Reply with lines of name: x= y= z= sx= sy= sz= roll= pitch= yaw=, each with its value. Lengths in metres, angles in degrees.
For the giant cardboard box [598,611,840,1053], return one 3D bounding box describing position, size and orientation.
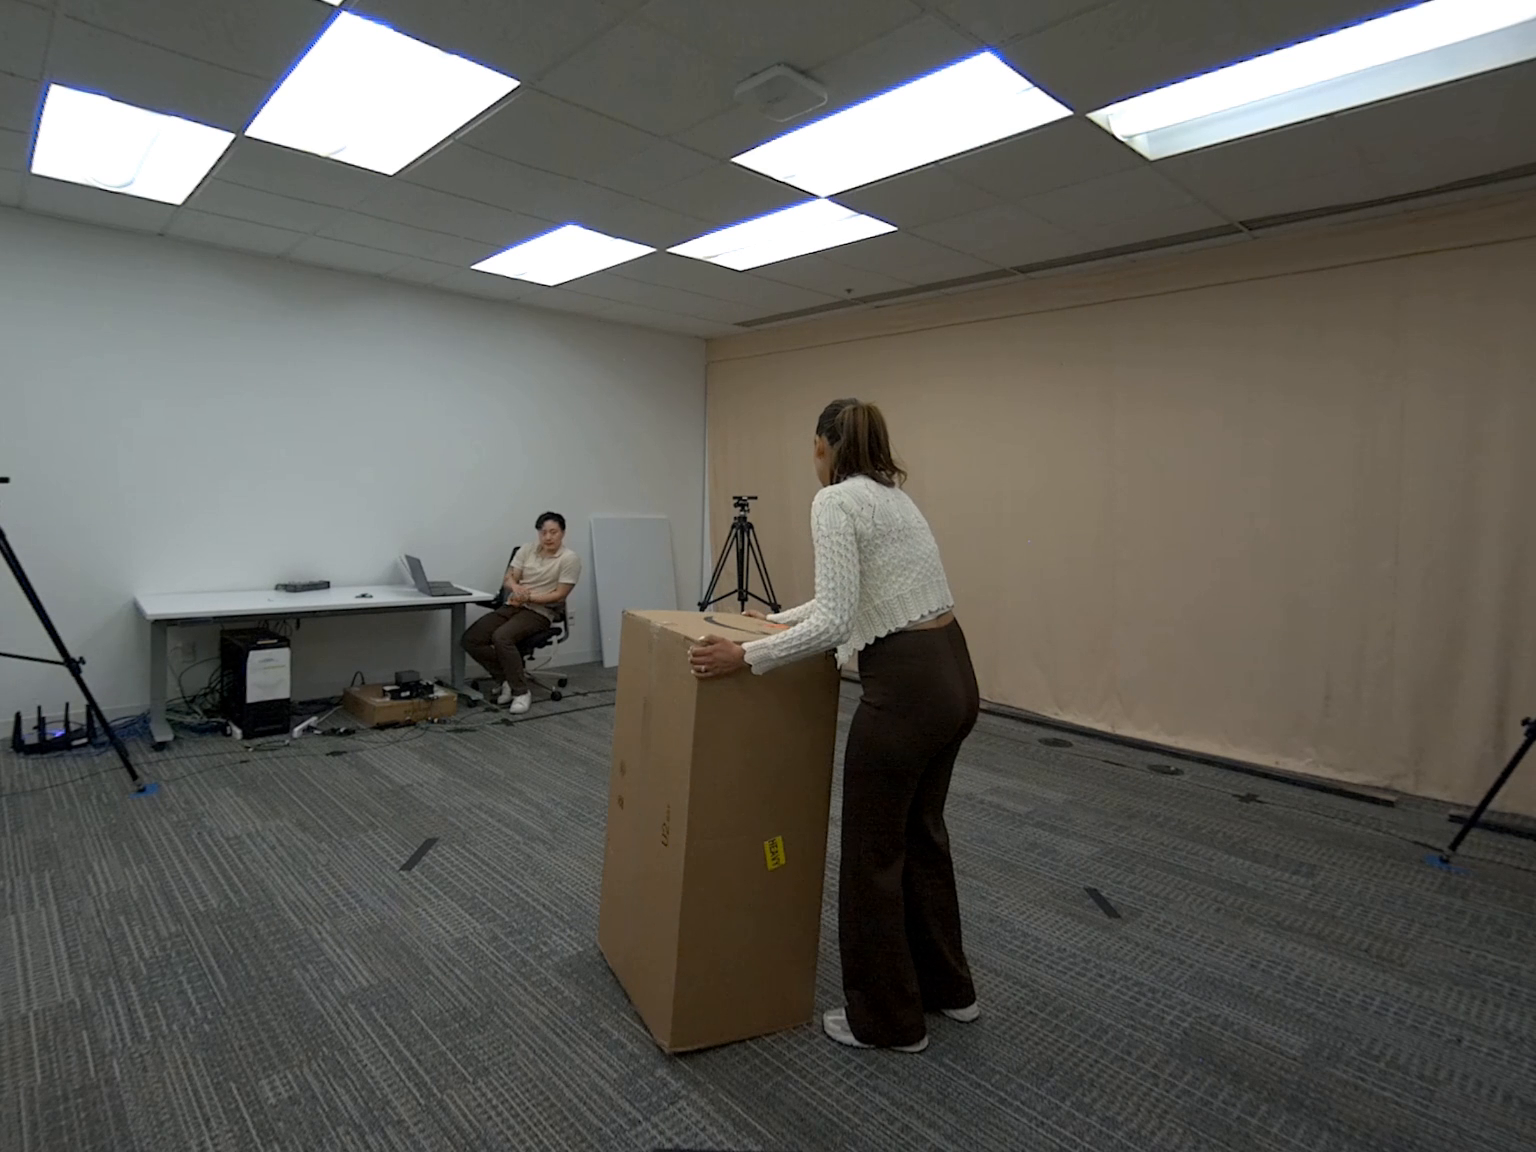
giant cardboard box: x=-0.164 y=0.654 z=2.396 sx=0.417 sy=1.024 sz=0.590 roll=3 pitch=2 yaw=-28
